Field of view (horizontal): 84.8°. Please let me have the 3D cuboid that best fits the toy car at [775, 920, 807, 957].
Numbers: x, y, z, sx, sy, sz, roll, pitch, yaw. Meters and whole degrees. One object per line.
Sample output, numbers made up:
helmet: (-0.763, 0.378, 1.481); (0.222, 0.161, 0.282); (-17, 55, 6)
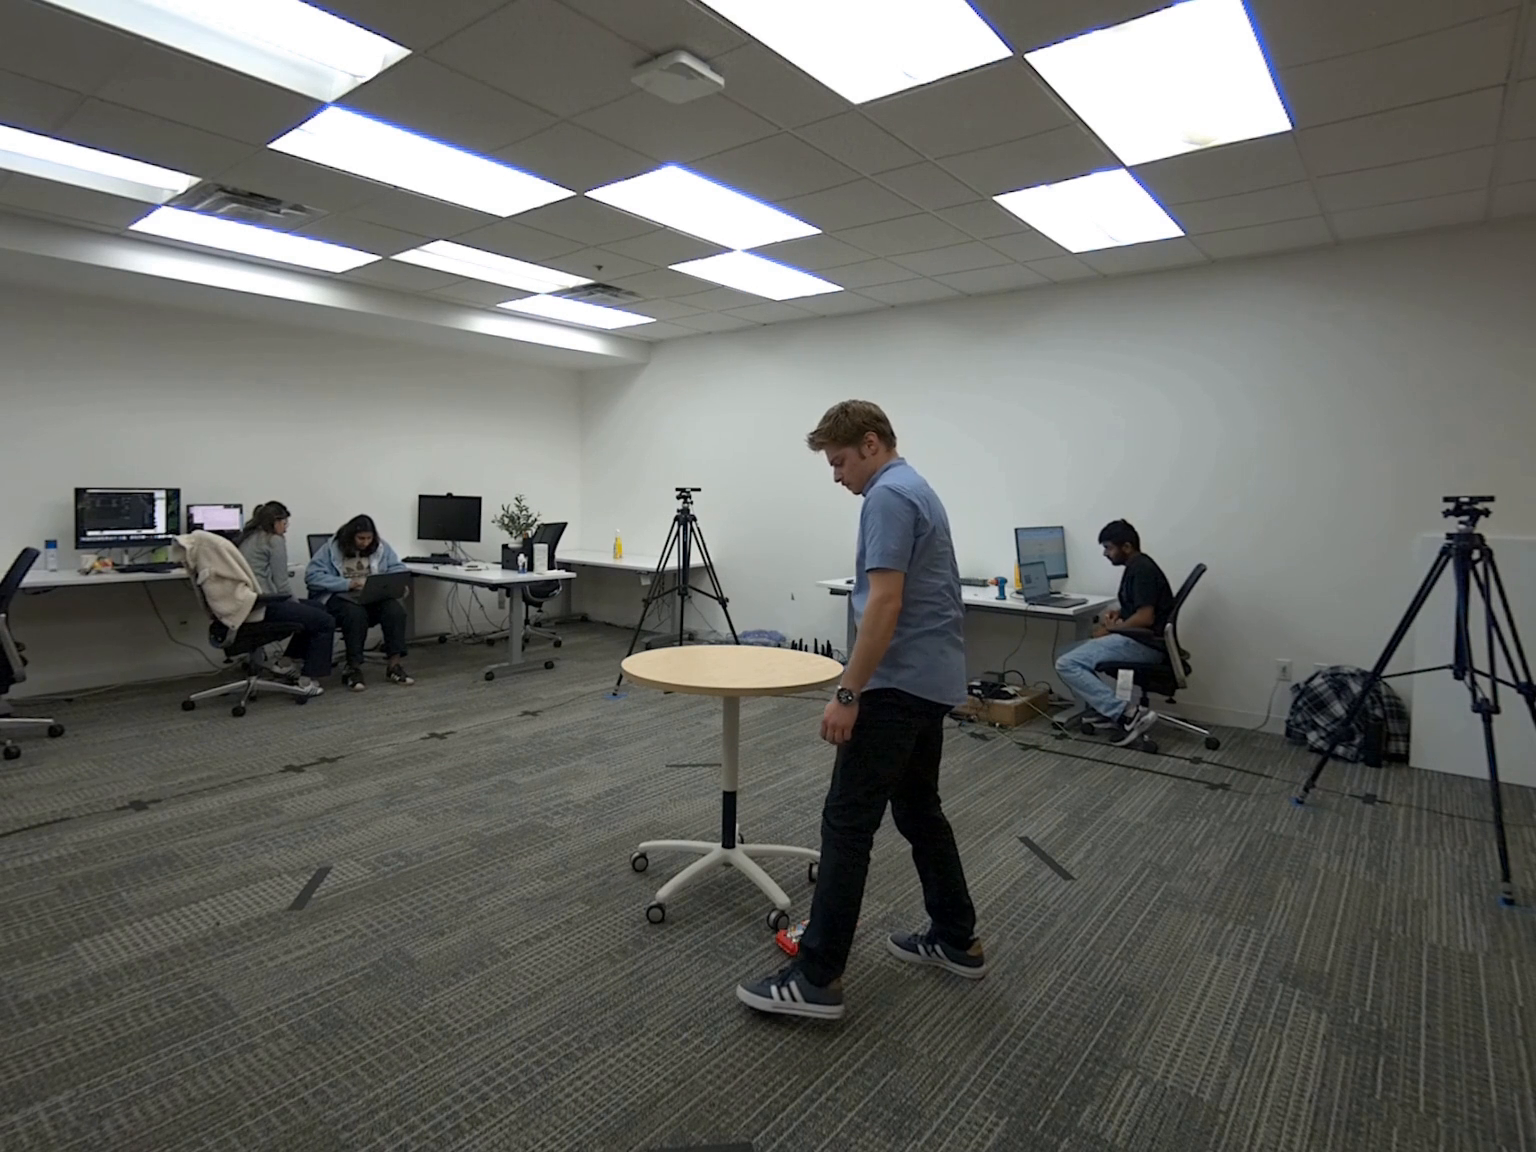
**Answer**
toy car: (0.151, 1.097, 2.590); (0.249, 0.082, 0.134); (-14, 12, -29)
